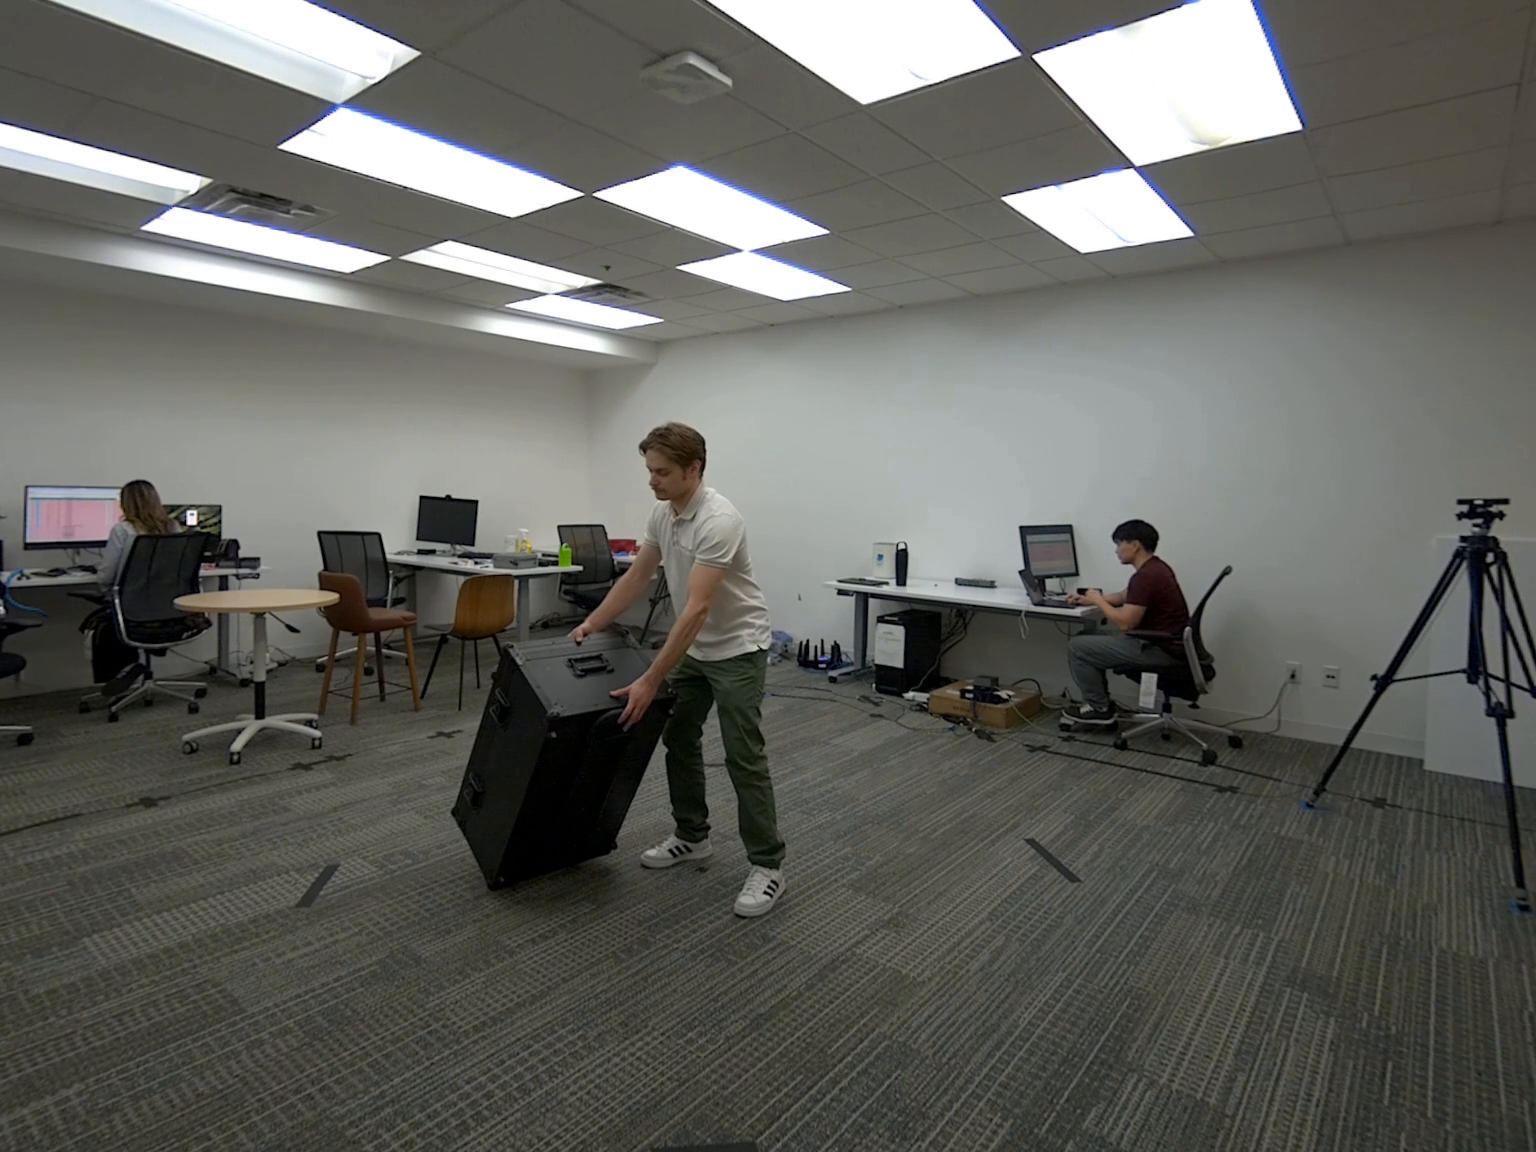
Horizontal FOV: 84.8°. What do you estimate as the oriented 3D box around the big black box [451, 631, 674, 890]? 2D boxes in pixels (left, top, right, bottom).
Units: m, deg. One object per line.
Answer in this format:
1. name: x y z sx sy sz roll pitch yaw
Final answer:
1. big black box: -0.735 0.654 2.954 0.508 0.859 0.401 -3 37 -44
